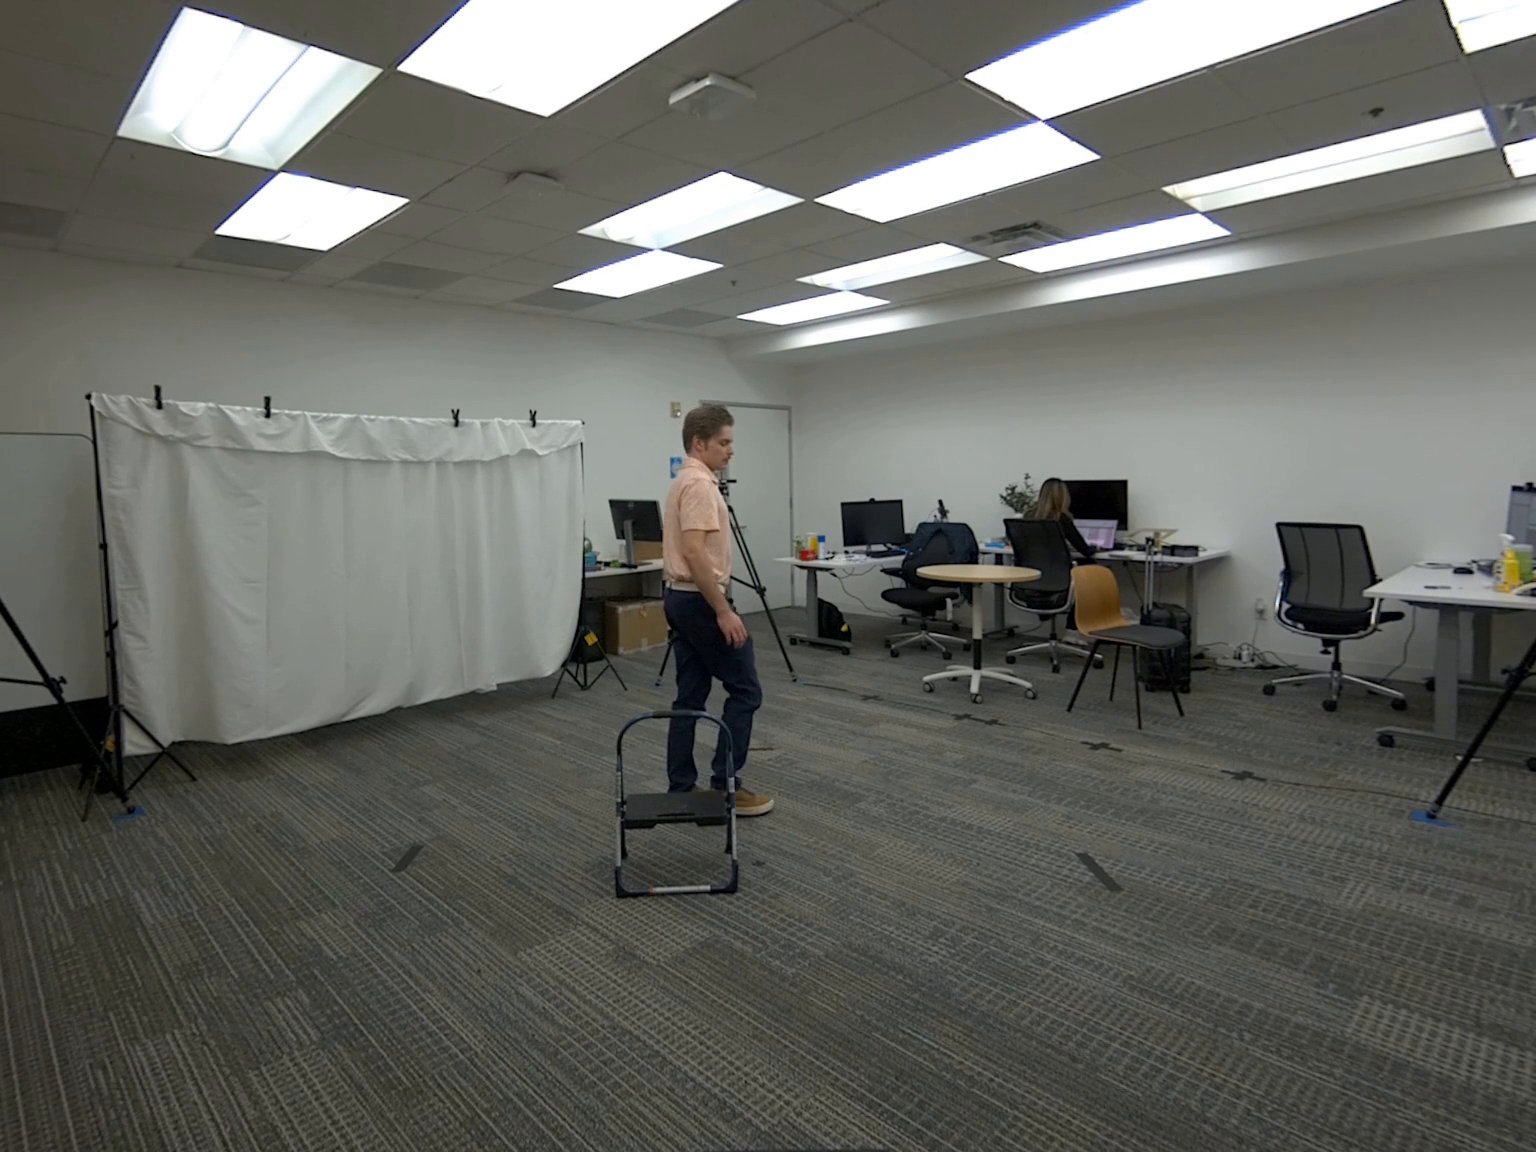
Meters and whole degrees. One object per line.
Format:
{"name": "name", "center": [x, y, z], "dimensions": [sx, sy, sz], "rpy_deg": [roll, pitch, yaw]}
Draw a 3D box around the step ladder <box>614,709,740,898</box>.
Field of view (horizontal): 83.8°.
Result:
{"name": "step ladder", "center": [-0.333, 0.763, 3.023], "dimensions": [0.429, 0.603, 0.352], "rpy_deg": [-1, 6, -4]}
